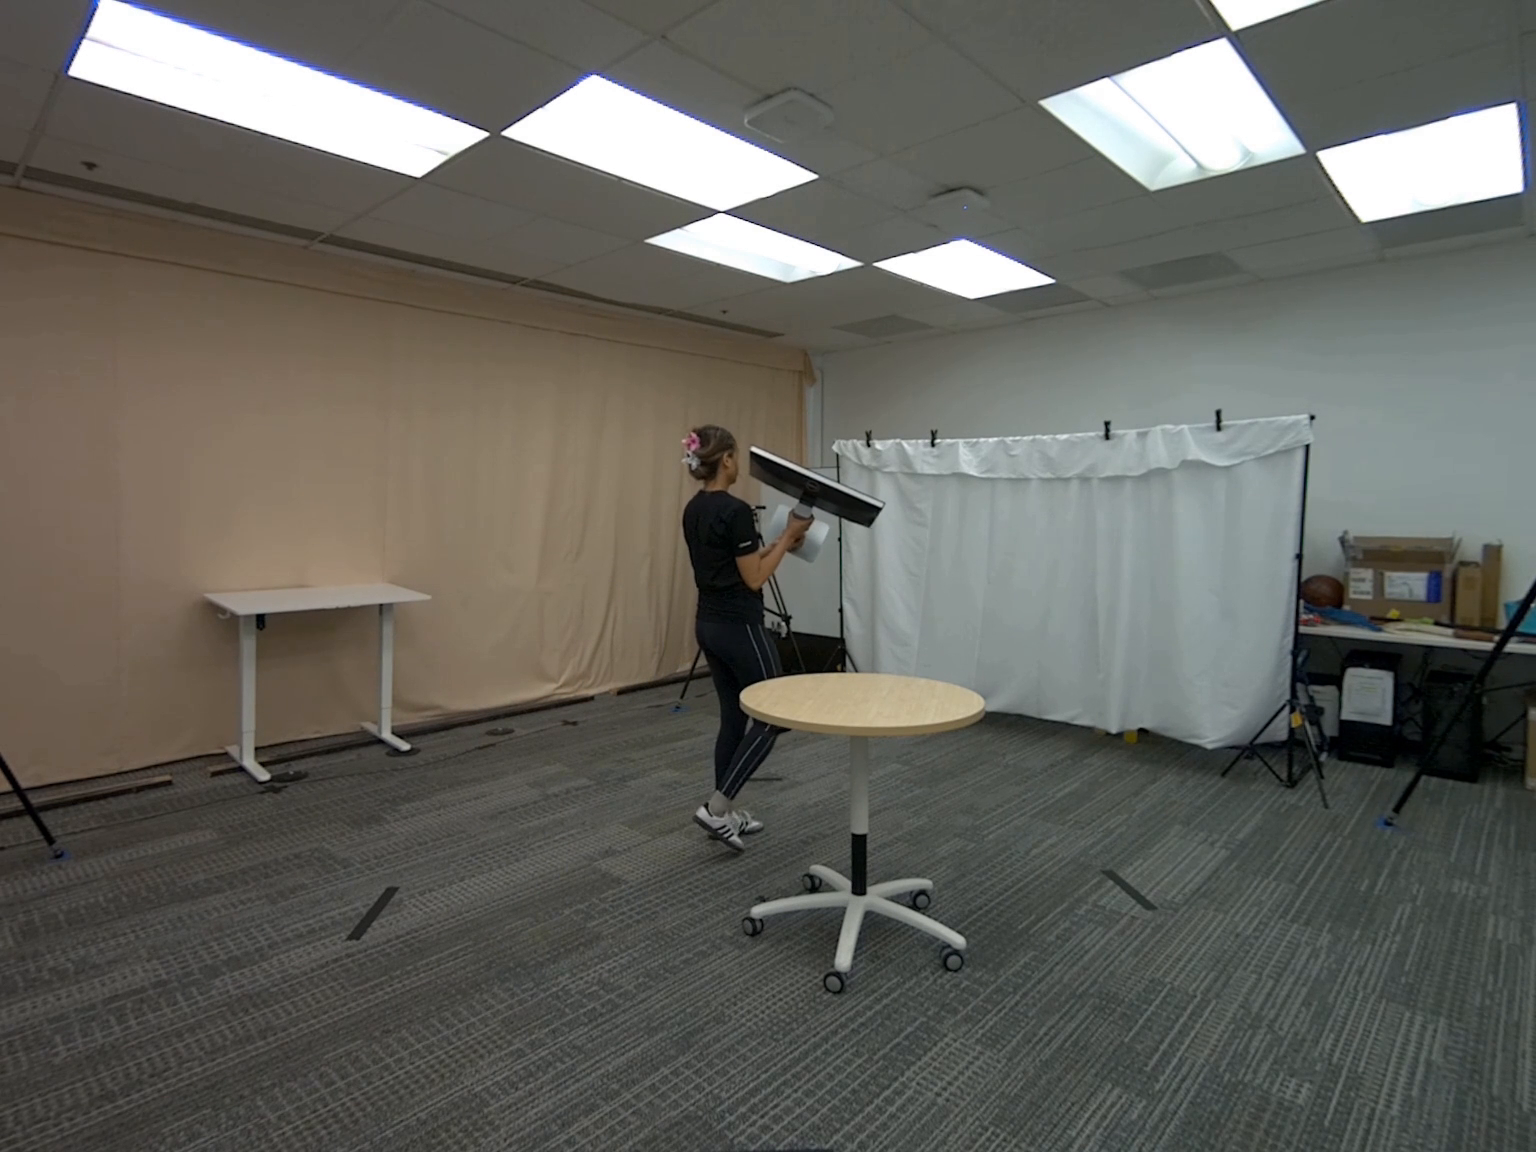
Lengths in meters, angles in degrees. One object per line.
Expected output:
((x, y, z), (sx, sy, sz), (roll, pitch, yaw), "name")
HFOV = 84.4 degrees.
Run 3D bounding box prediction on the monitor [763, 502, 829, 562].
((0.170, -0.291, 3.463), (0.543, 0.187, 0.518), (22, -22, 4), "monitor")
